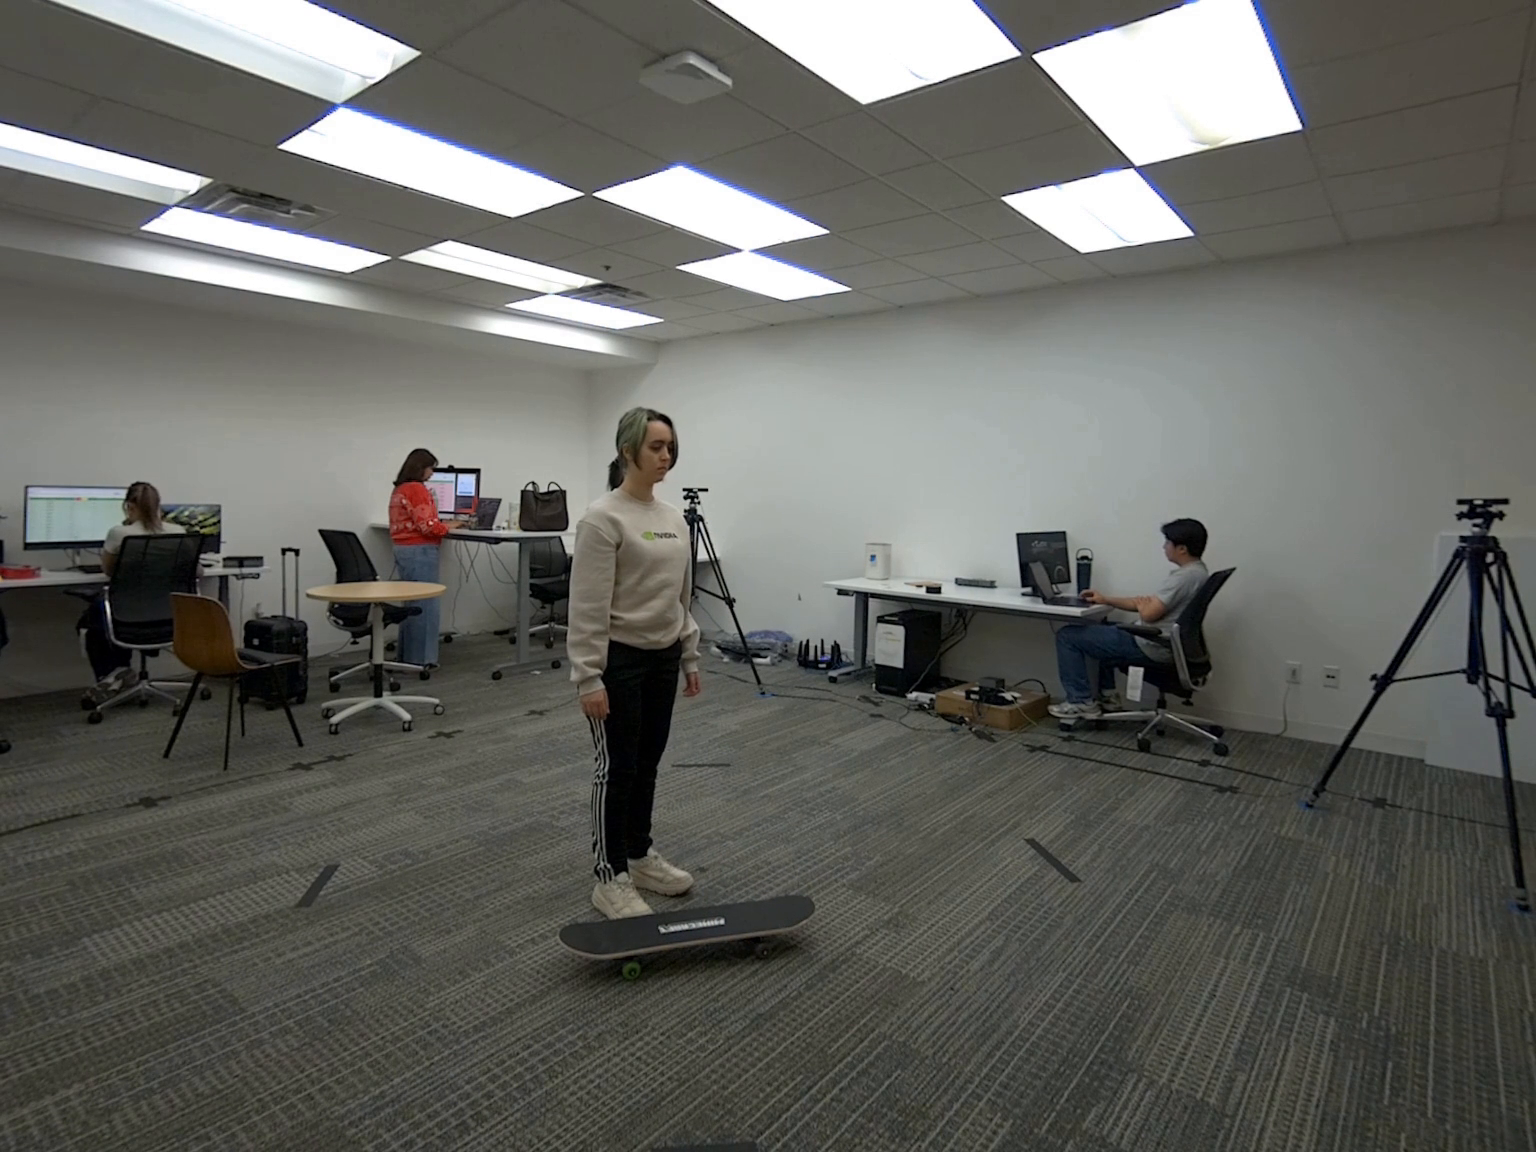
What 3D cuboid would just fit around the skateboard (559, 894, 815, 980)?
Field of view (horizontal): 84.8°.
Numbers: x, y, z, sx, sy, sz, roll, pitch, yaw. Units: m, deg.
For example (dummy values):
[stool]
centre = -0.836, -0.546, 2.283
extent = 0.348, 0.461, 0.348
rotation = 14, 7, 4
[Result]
[skateboard]
centre = -0.226, 1.069, 2.530
extent = 0.771, 0.110, 0.198
rotation = -1, 6, -18
